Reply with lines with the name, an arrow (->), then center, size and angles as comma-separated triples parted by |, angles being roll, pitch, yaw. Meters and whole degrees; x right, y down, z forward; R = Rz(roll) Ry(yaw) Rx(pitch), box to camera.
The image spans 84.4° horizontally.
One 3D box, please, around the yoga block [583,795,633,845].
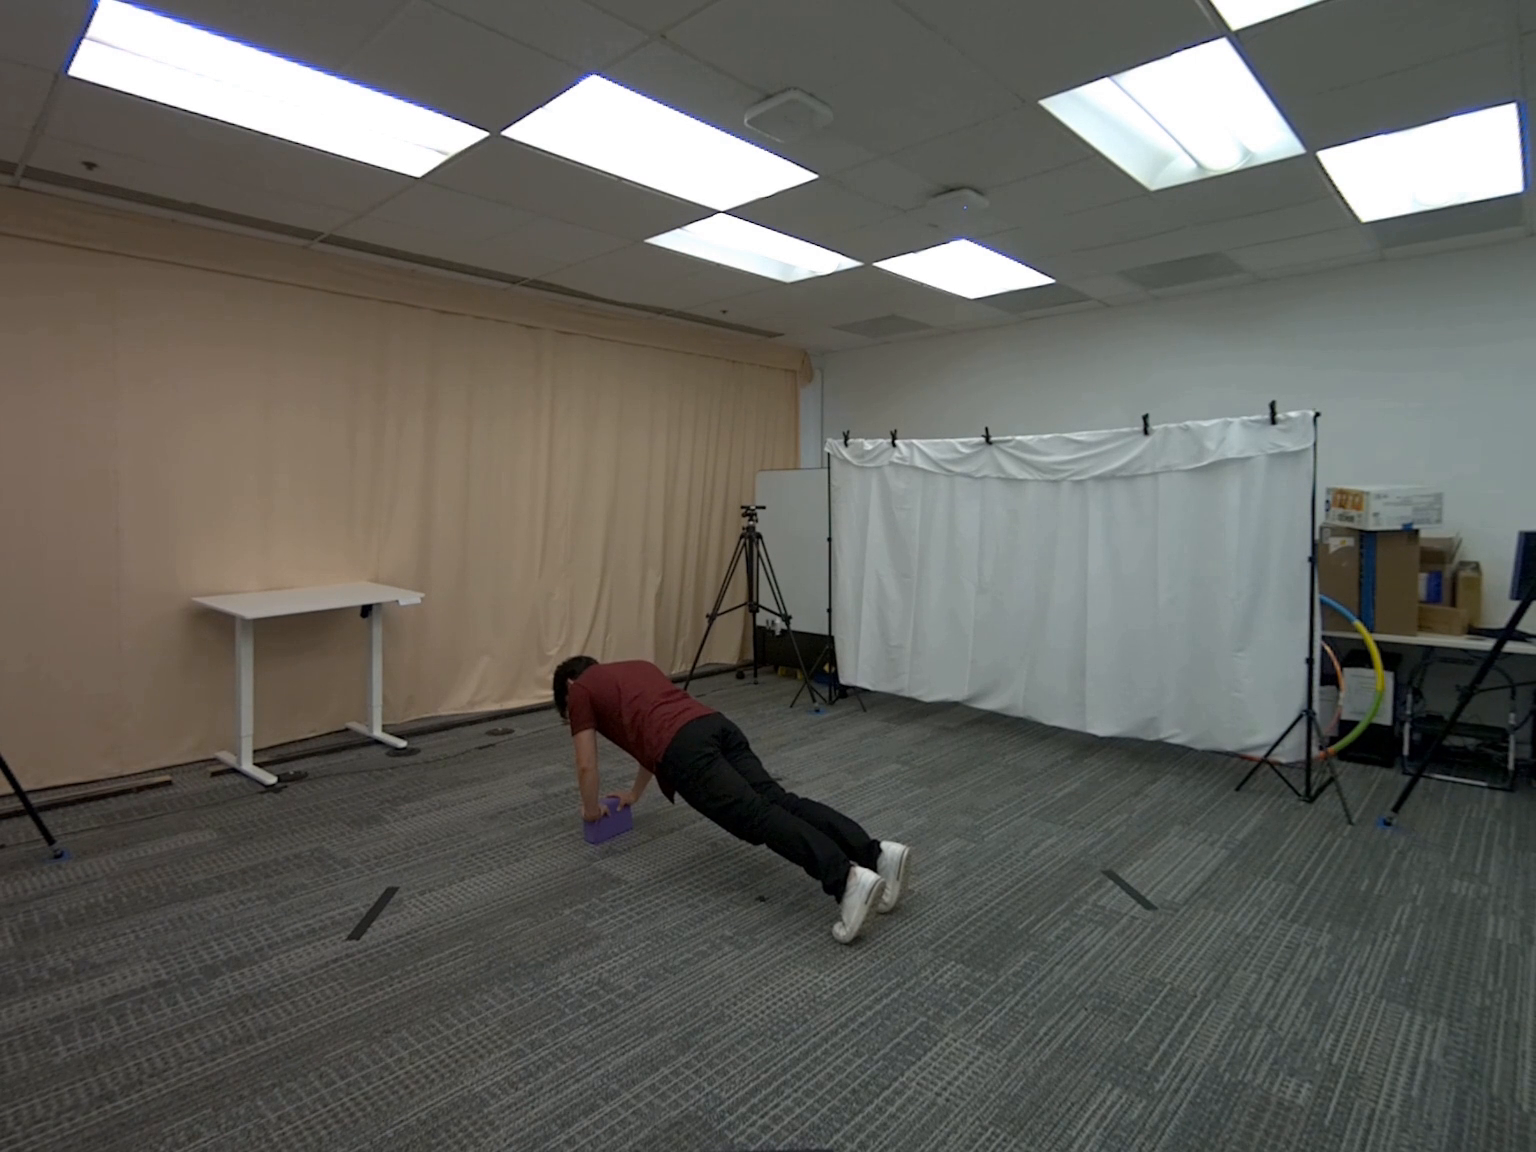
yoga block -> -0.684, 1.034, 3.580 | 0.078, 0.149, 0.223 | -7, 0, 35
